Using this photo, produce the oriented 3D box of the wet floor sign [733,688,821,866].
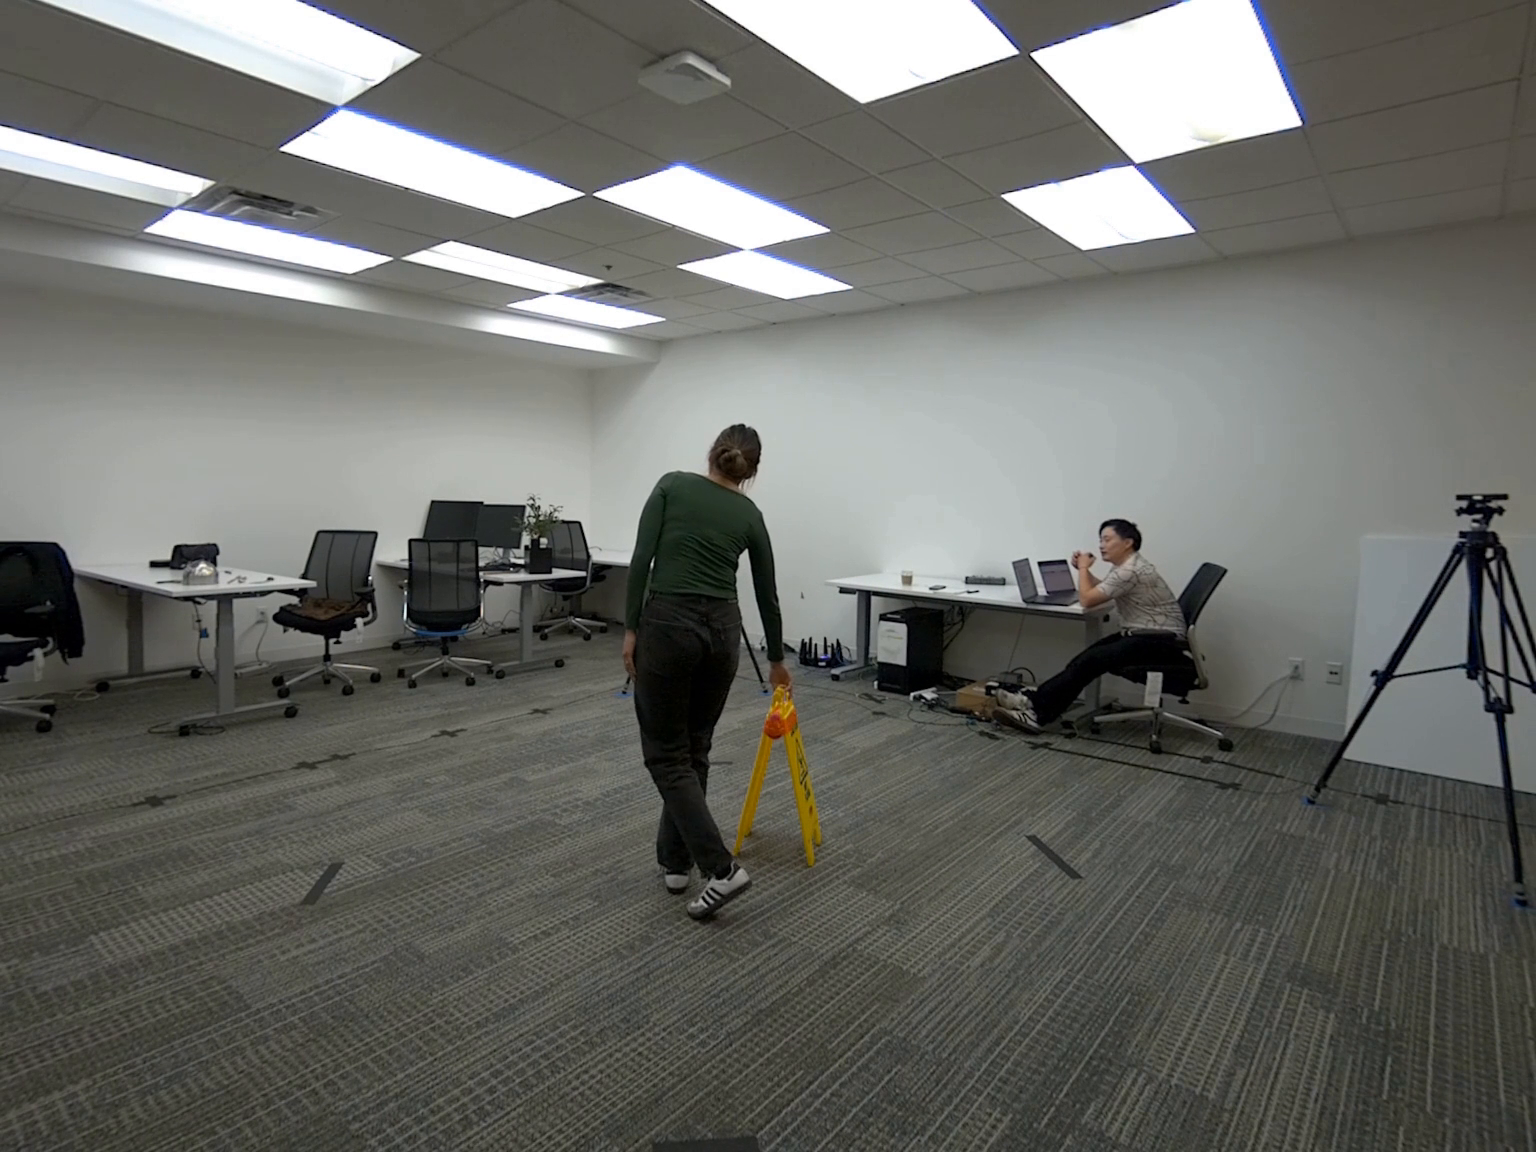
[{"bbox_3d":[0.036,0.730,3.287,0.294,0.645,0.278,1,2,13],"label":"wet floor sign"}]
